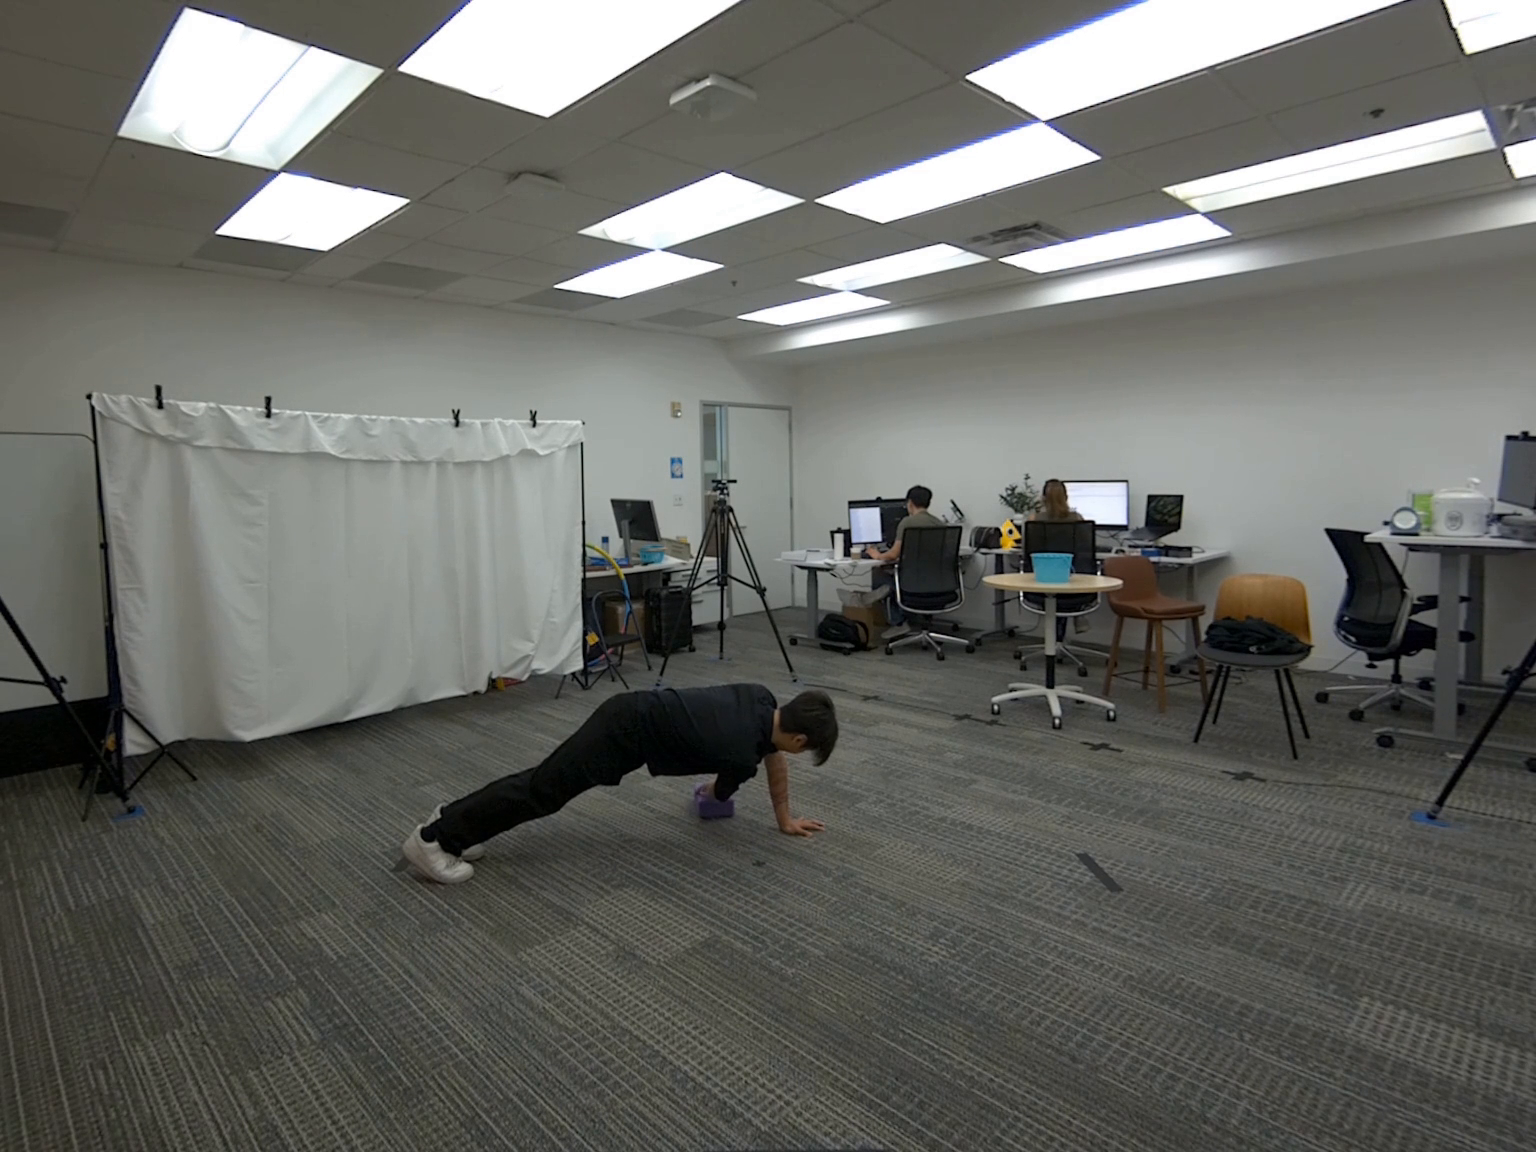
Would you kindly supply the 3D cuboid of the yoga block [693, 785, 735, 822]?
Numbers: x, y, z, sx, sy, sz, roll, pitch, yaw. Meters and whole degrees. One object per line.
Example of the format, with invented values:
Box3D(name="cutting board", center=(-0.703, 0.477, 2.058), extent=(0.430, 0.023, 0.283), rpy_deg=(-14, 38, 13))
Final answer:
Box3D(name="yoga block", center=(-0.230, 0.951, 3.649), extent=(0.148, 0.076, 0.232), rpy_deg=(-1, 7, -10))
